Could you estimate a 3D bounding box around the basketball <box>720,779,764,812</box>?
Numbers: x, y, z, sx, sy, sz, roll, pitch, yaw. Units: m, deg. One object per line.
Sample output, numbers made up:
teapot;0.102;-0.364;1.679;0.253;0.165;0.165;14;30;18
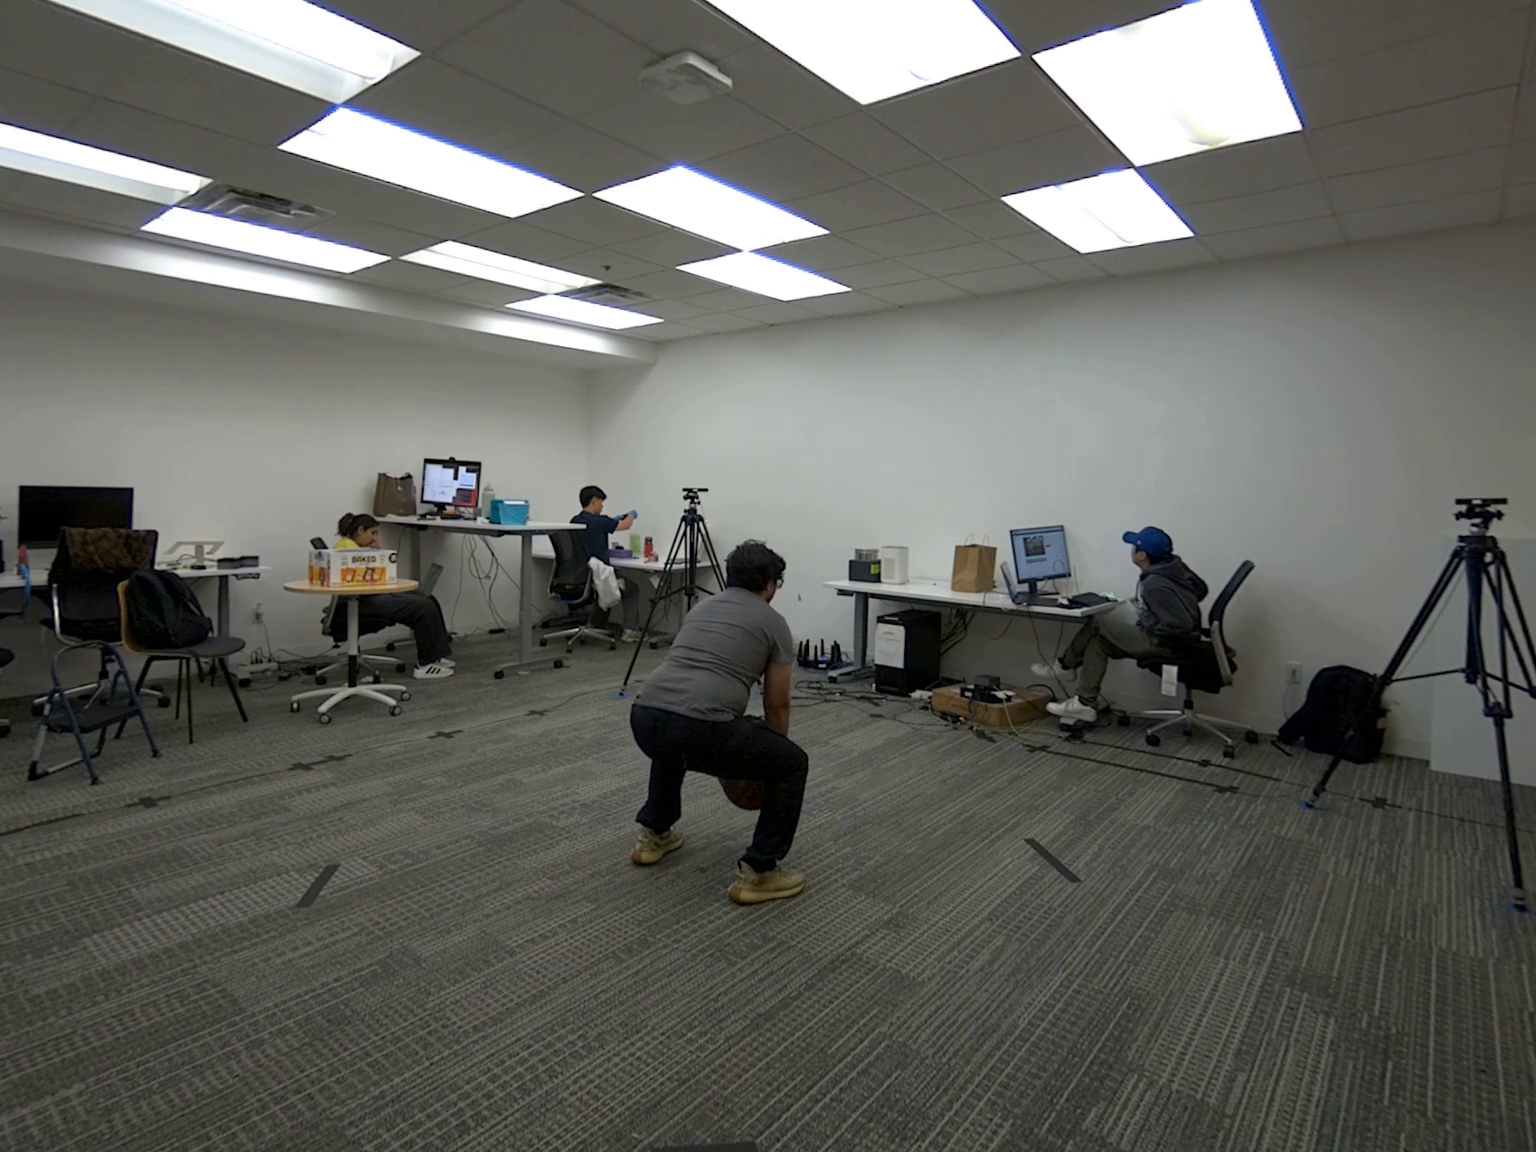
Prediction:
basketball;-0.068;0.781;3.302;0.235;0.235;0.237;1;4;-2
